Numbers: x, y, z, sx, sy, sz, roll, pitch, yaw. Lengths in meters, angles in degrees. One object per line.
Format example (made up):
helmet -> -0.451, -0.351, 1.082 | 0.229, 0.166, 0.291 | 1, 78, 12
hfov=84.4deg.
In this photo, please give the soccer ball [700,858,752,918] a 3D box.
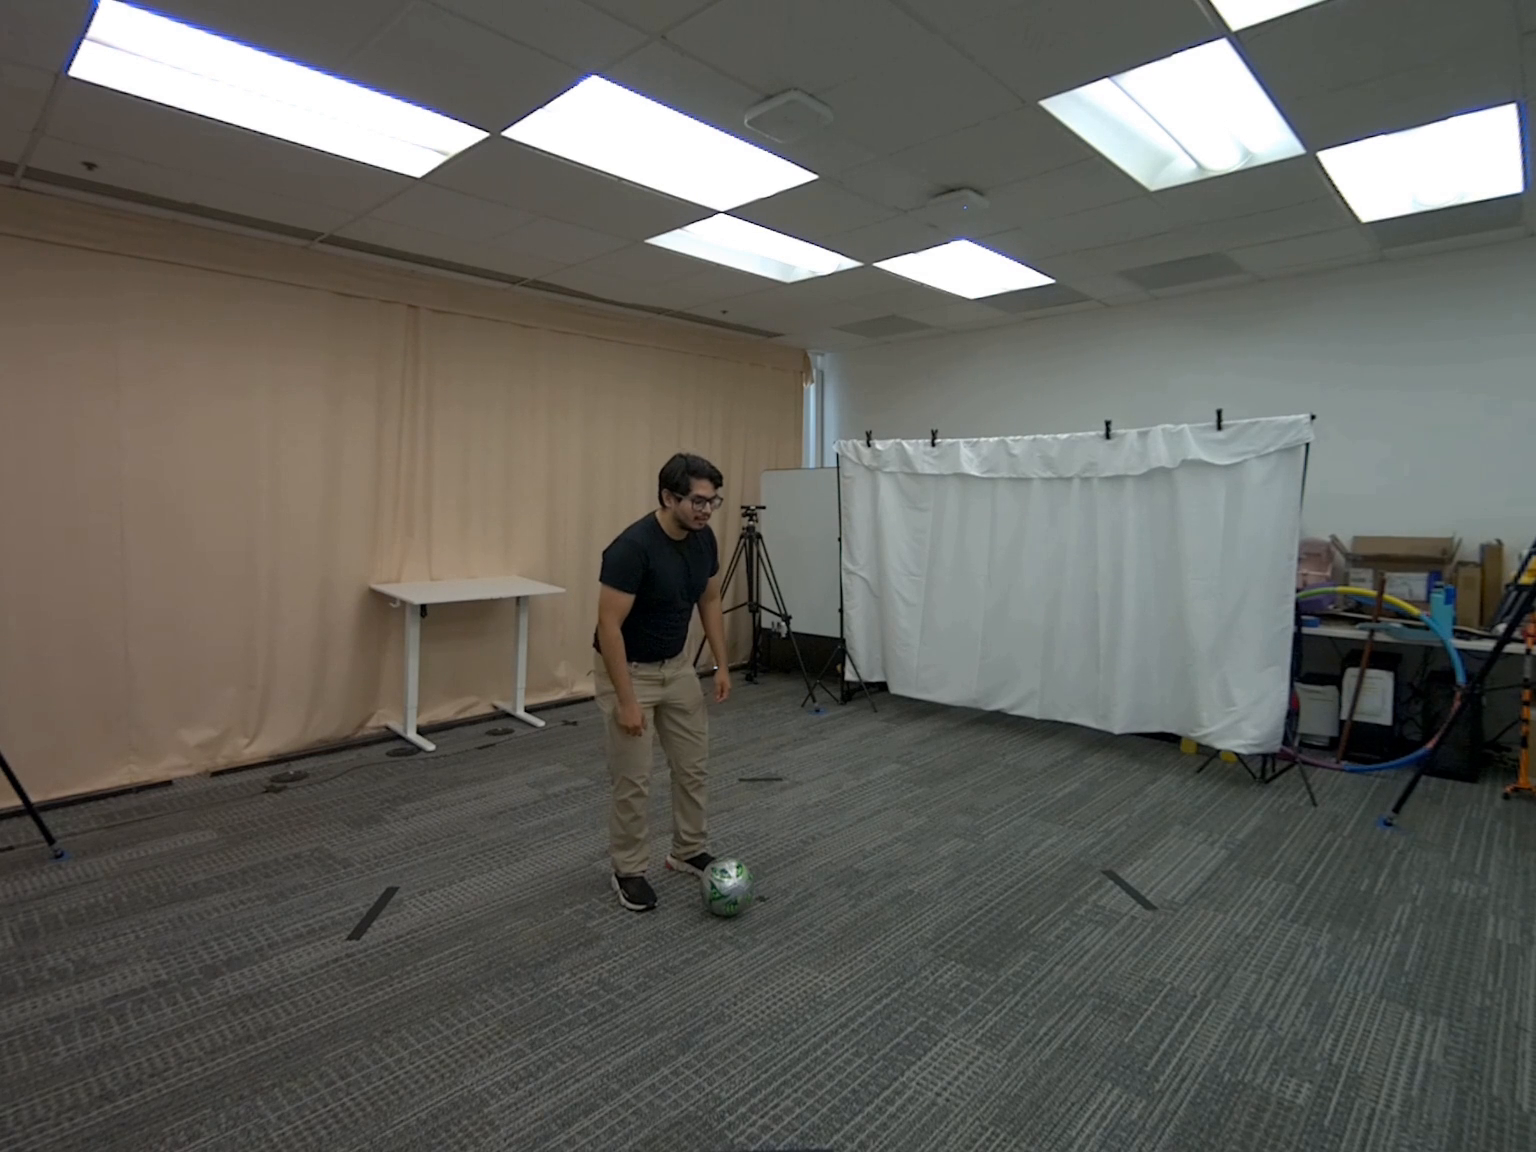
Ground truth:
soccer ball -> -0.139, 1.060, 2.873 | 0.187, 0.187, 0.188 | 0, 4, -2
